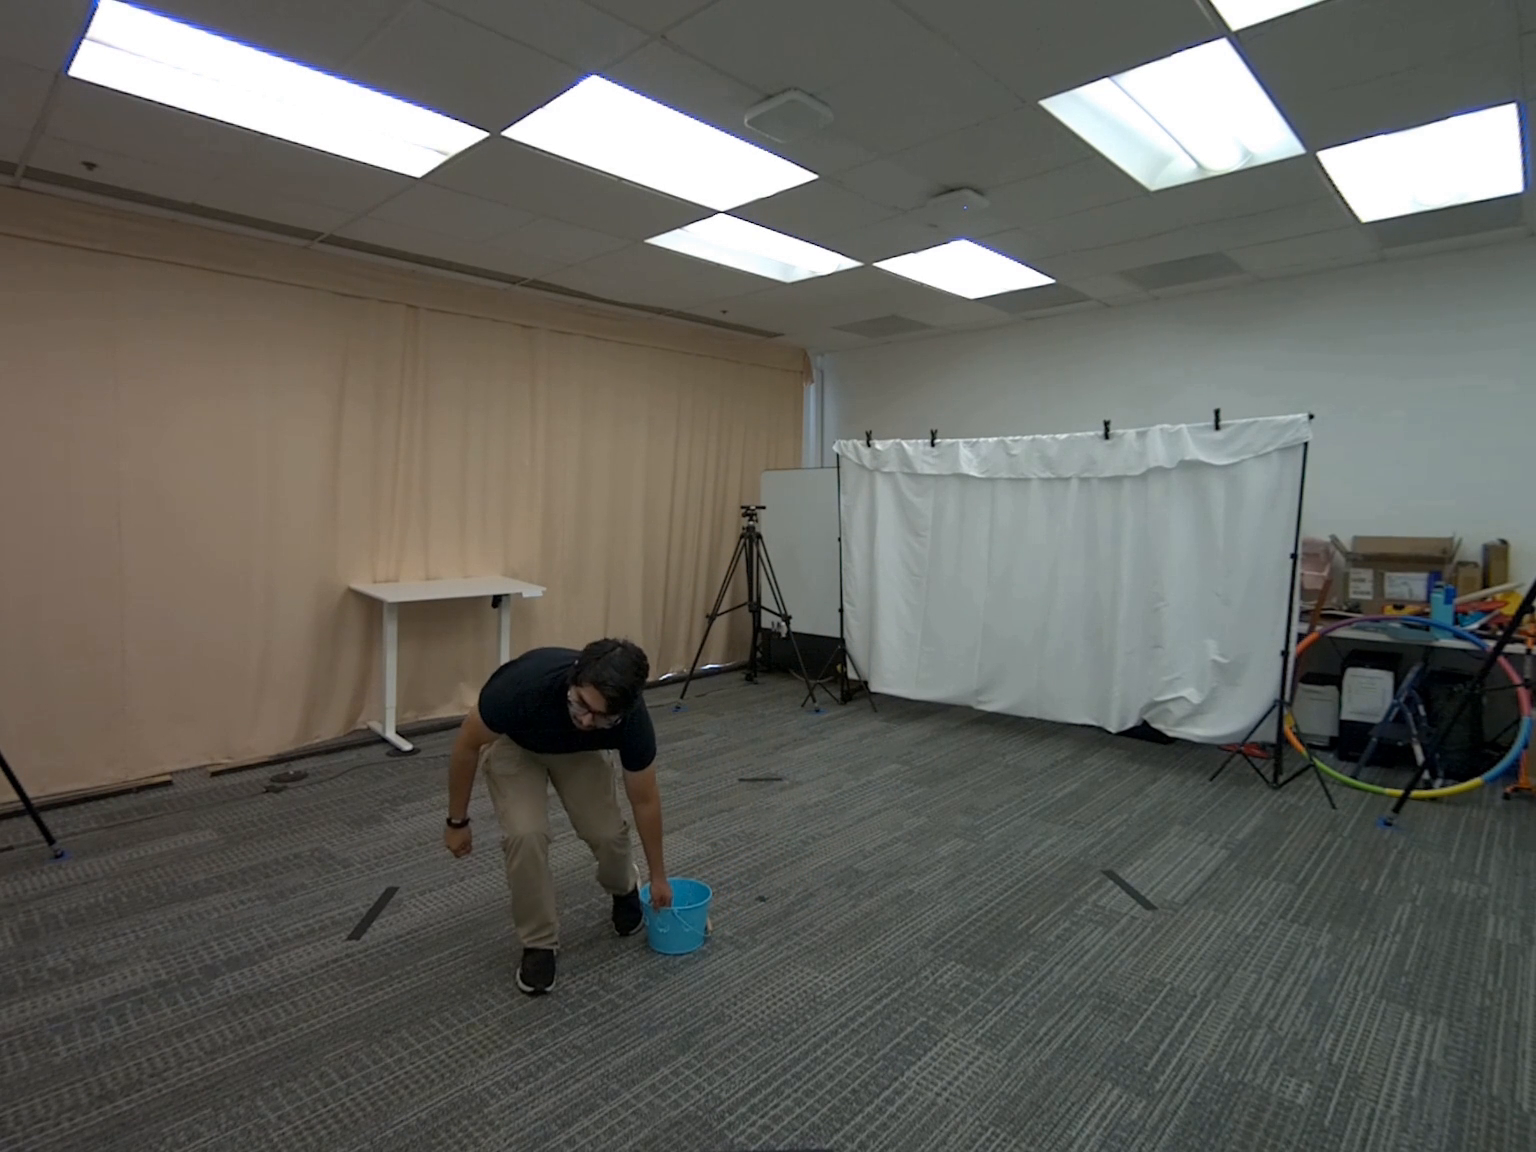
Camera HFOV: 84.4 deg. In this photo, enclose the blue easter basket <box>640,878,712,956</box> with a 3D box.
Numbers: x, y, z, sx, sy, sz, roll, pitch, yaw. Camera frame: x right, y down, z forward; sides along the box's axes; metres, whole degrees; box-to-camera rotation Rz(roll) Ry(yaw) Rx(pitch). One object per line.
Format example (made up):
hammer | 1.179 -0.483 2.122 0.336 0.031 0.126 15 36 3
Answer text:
blue easter basket | -0.291 1.095 2.684 0.243 0.155 0.244 0 3 -2
